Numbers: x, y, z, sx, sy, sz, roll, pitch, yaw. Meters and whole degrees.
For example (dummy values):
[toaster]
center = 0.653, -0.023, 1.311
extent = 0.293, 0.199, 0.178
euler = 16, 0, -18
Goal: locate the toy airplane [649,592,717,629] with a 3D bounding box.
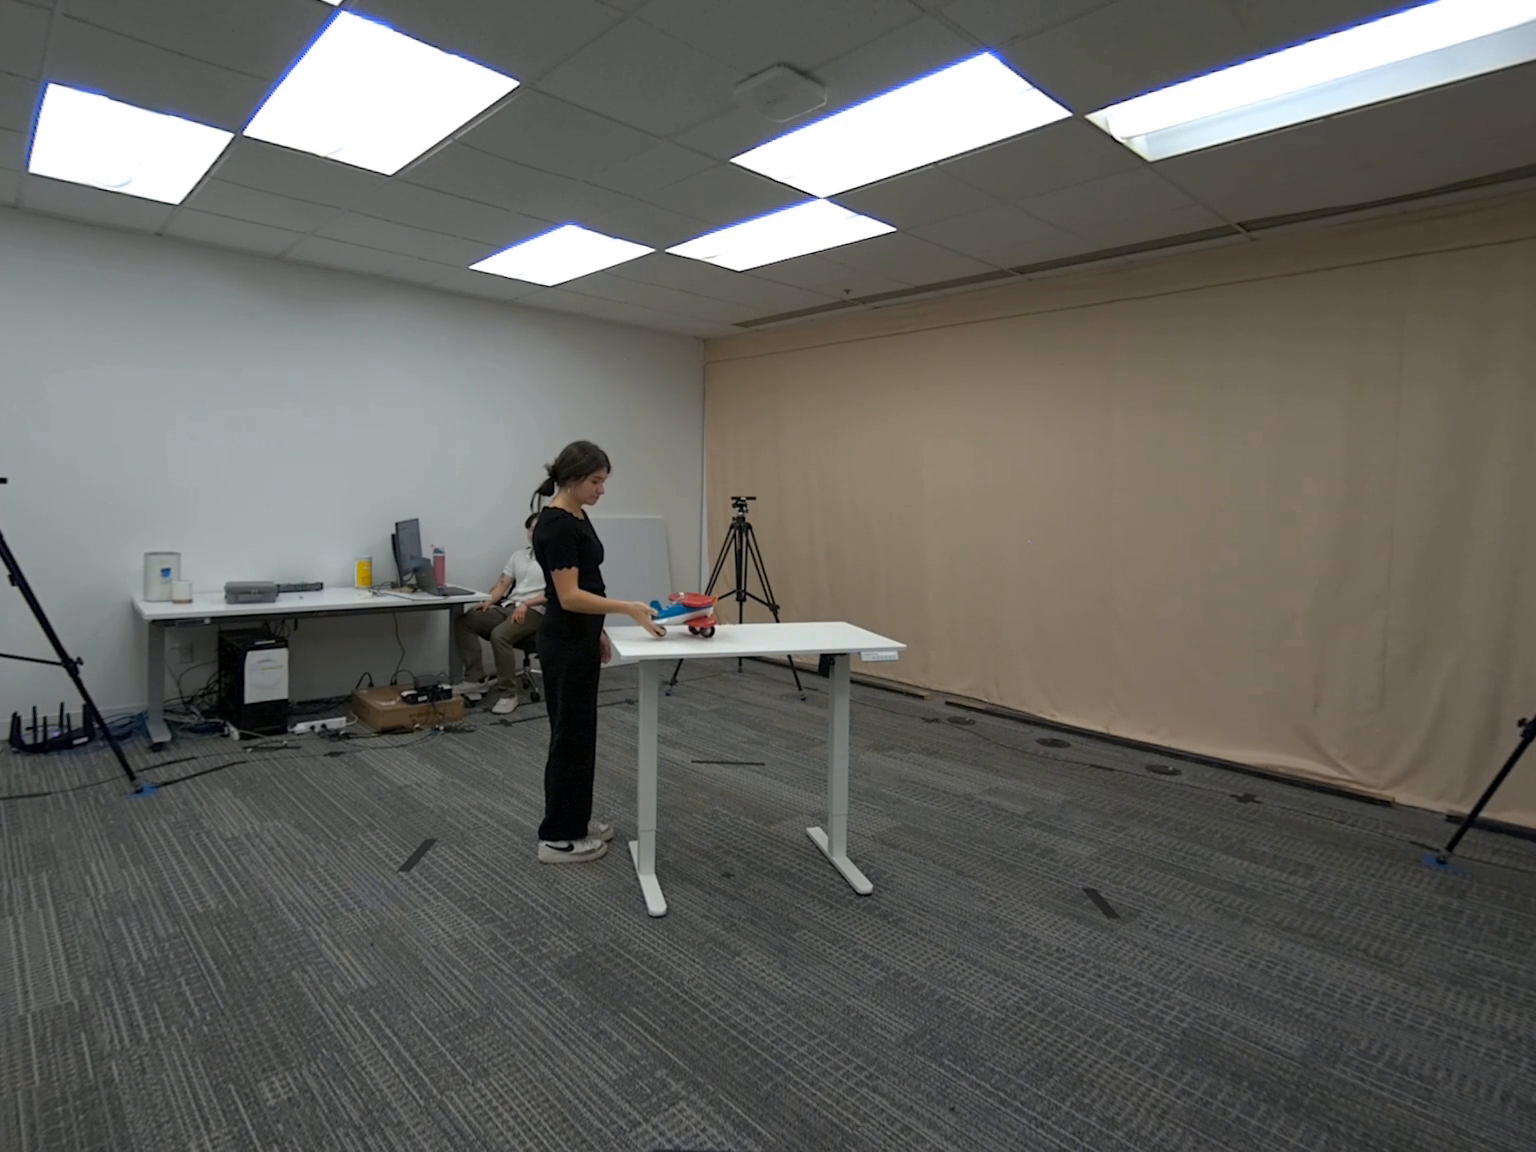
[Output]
[toy airplane]
center = -0.311, 0.144, 3.044
extent = 0.256, 0.156, 0.254
euler = 4, 1, 29
